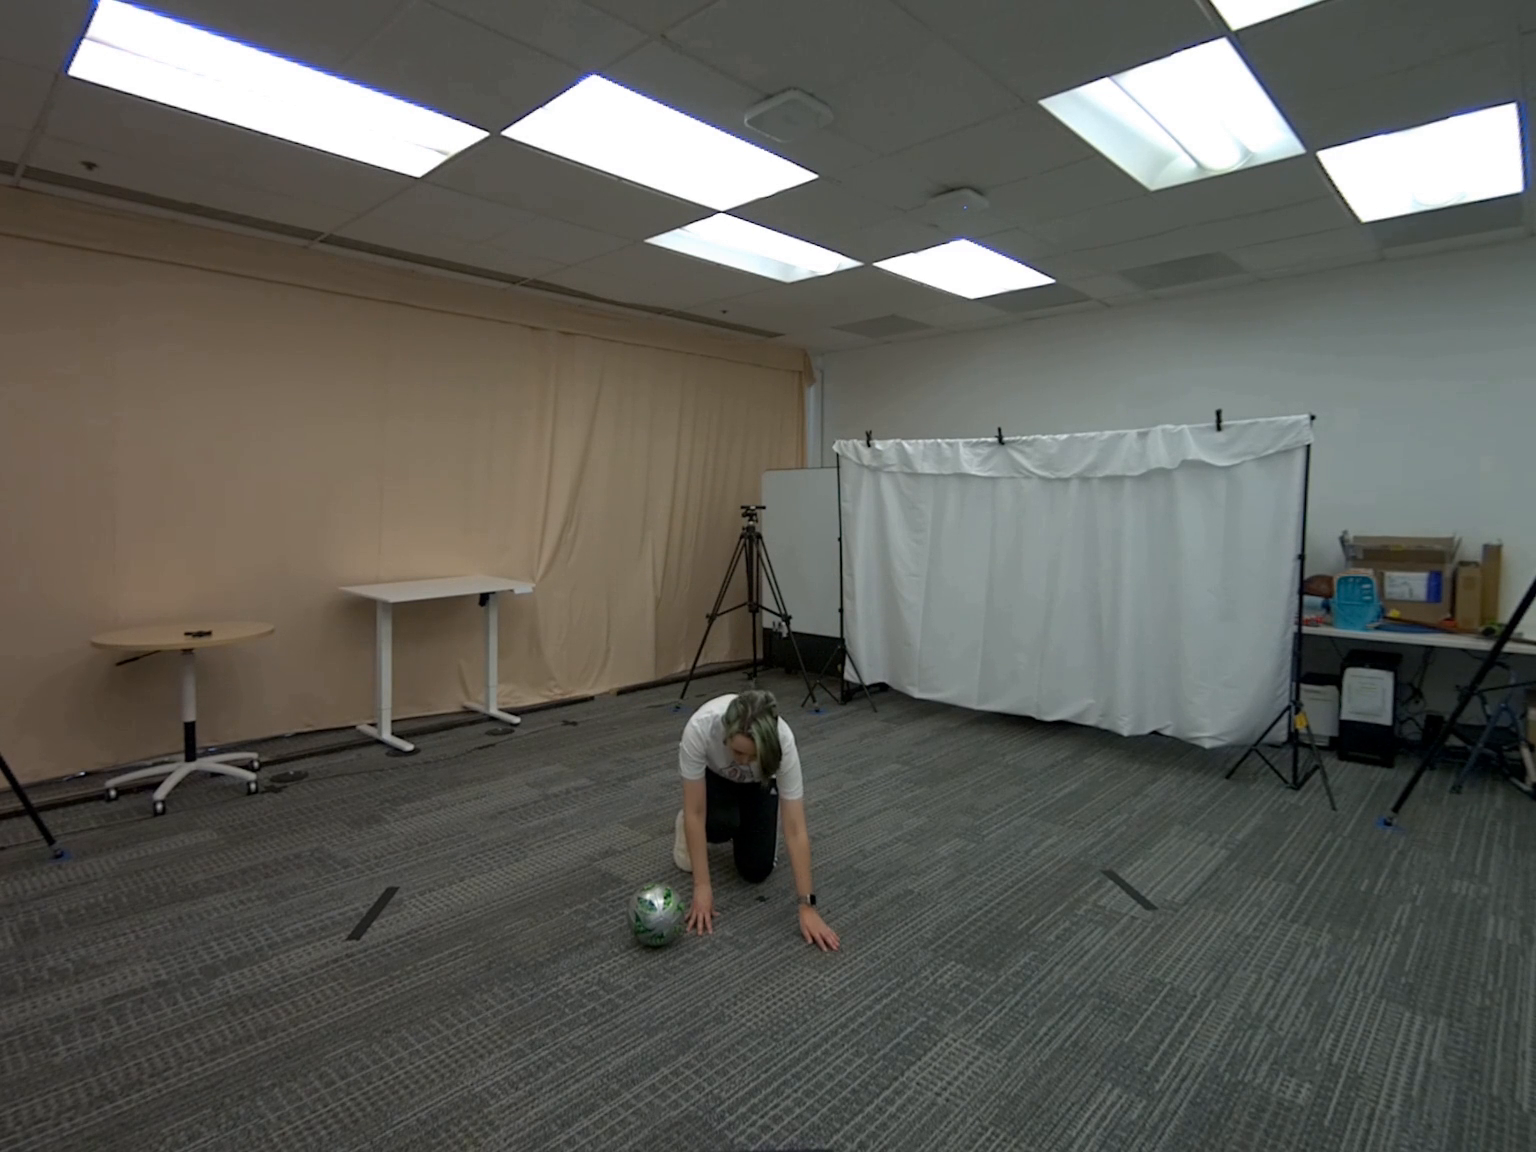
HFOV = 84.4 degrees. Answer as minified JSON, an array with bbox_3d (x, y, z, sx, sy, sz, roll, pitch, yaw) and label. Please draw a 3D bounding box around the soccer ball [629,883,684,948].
[{"bbox_3d":[-0.360,1.072,2.685,0.187,0.187,0.188,0,4,-2],"label":"soccer ball"}]
